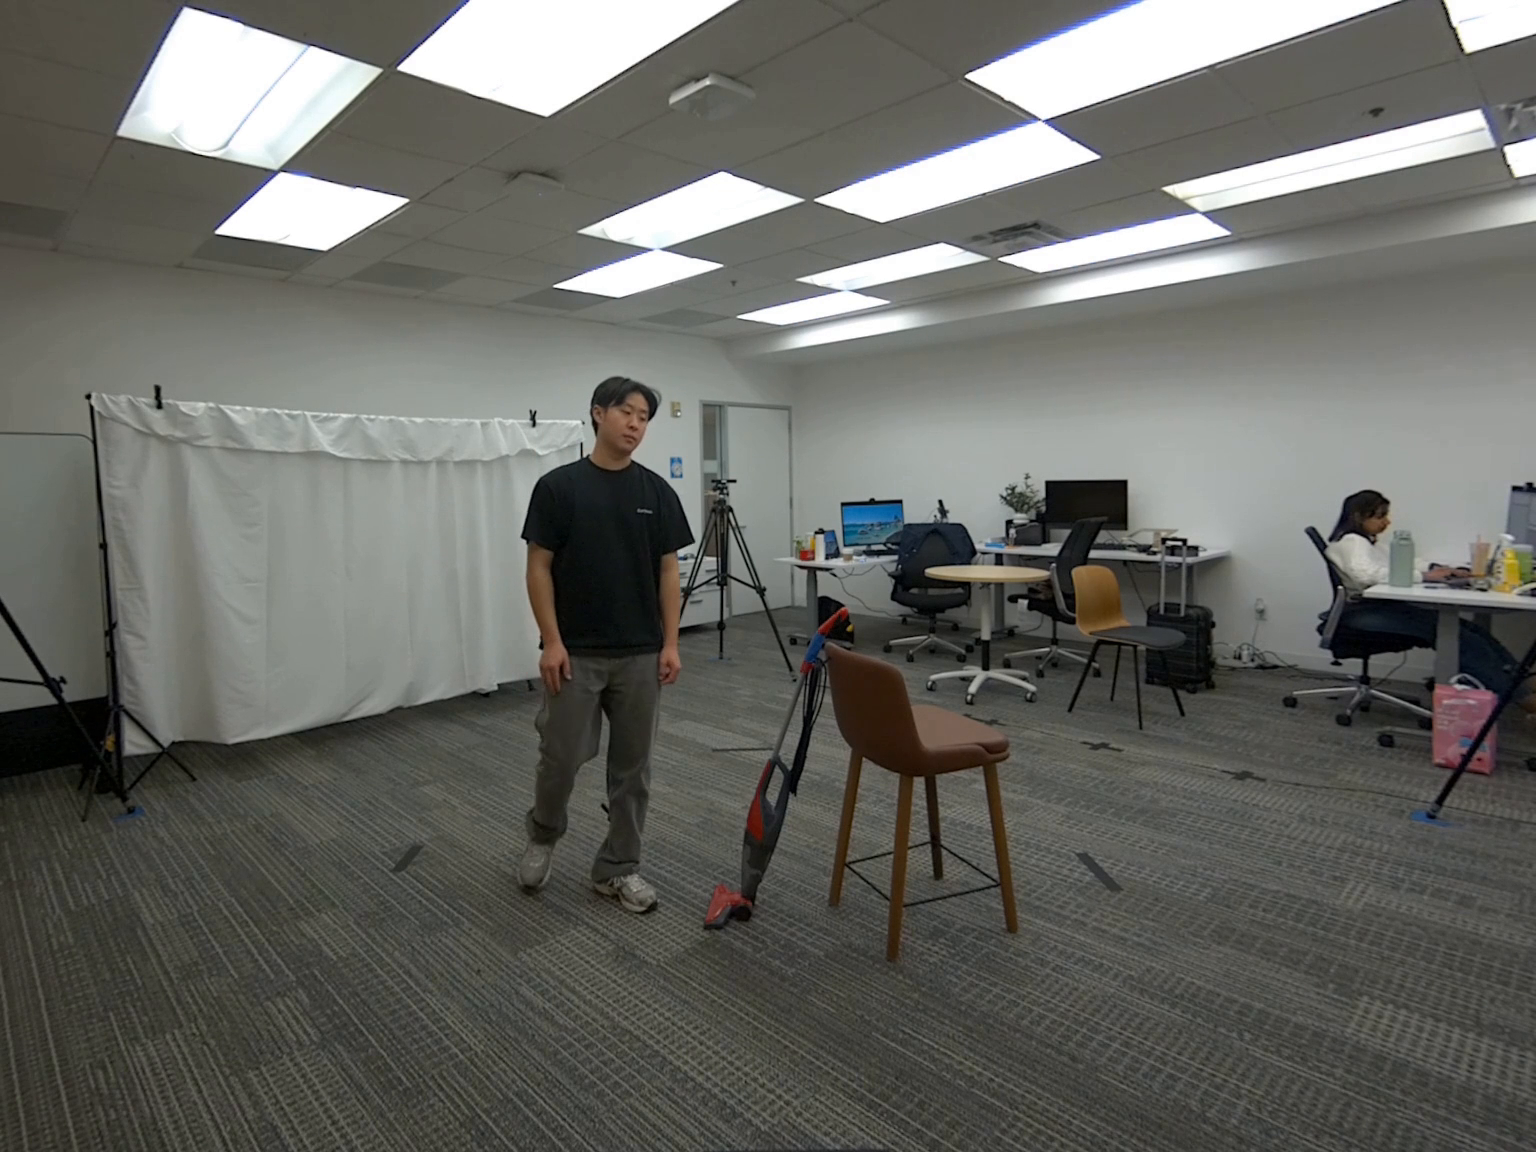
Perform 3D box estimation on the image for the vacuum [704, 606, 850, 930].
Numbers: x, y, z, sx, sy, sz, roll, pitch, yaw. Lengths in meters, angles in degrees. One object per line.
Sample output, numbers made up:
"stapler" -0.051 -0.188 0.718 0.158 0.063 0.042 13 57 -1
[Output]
"vacuum" 0.063 0.591 2.707 0.144 1.045 0.253 21 8 1
